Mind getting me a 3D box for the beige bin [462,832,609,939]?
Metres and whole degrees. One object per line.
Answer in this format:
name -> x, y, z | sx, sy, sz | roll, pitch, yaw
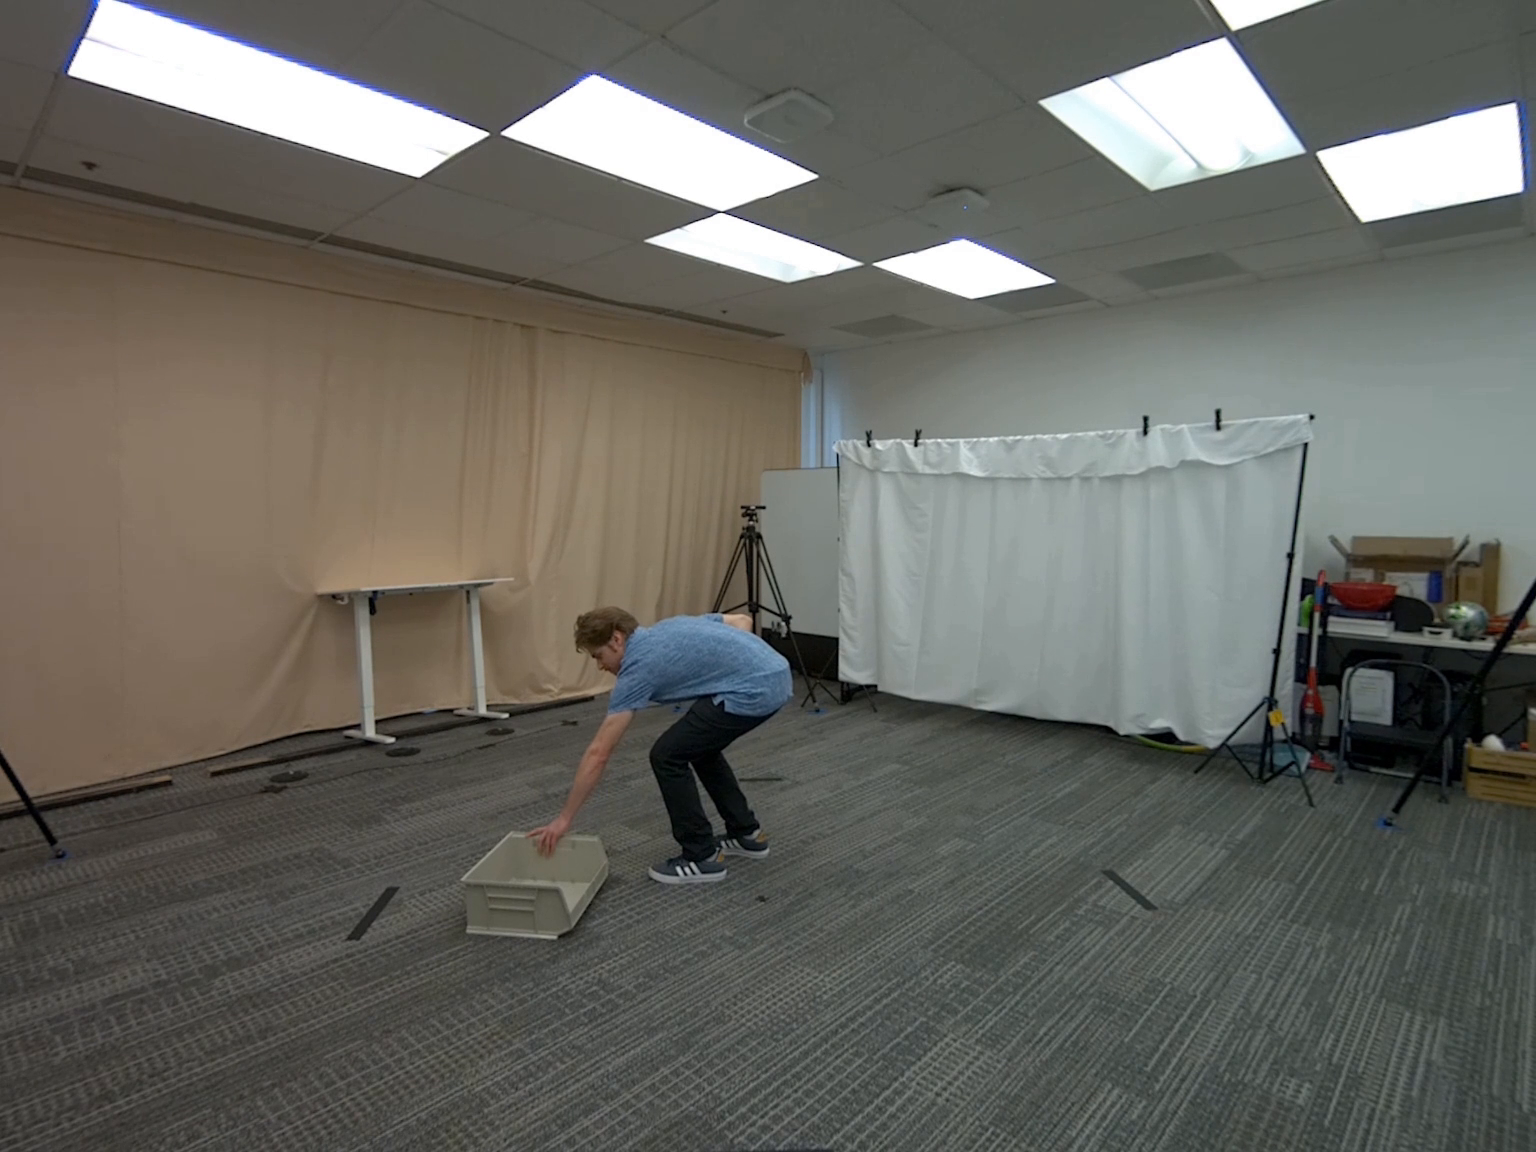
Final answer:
beige bin -> -0.798, 1.066, 2.929 | 0.381, 0.188, 0.420 | -1, 4, 7
